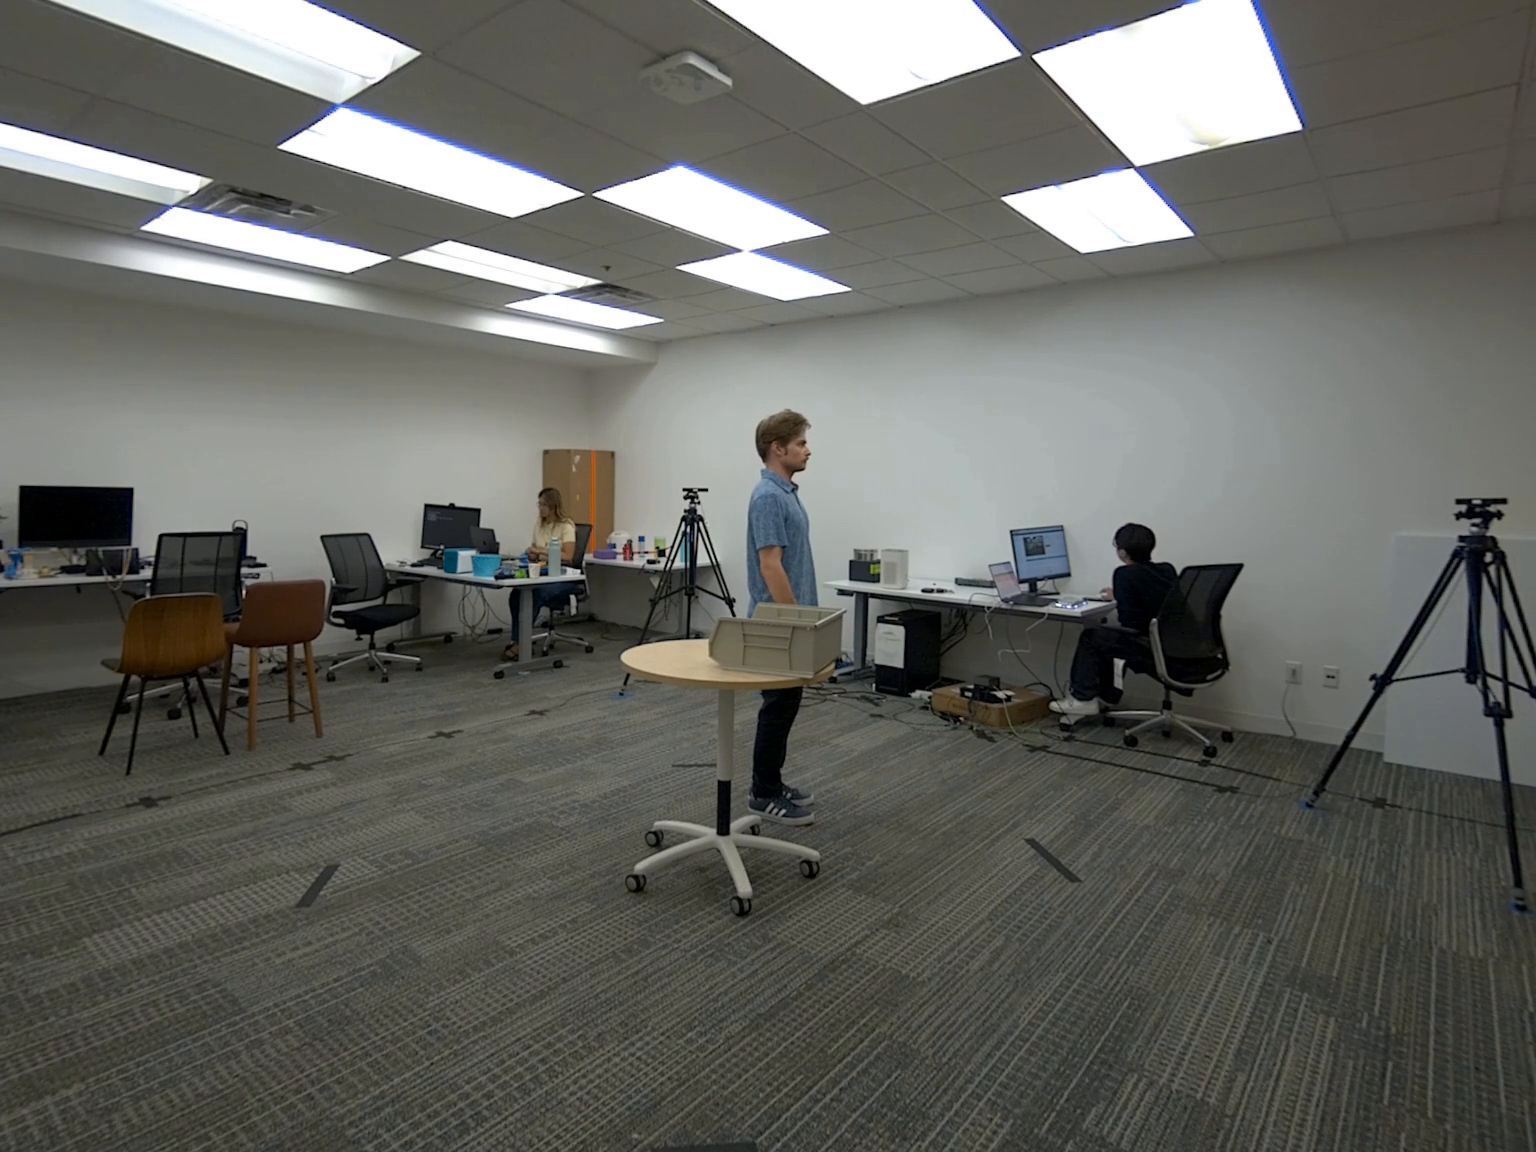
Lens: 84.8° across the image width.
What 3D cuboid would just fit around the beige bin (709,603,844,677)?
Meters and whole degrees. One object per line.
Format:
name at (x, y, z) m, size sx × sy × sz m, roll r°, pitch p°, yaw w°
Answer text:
beige bin at (0.028, 0.213, 2.990) m, size 0.386 × 0.188 × 0.414 m, roll 5°, pitch 5°, yaw 20°
